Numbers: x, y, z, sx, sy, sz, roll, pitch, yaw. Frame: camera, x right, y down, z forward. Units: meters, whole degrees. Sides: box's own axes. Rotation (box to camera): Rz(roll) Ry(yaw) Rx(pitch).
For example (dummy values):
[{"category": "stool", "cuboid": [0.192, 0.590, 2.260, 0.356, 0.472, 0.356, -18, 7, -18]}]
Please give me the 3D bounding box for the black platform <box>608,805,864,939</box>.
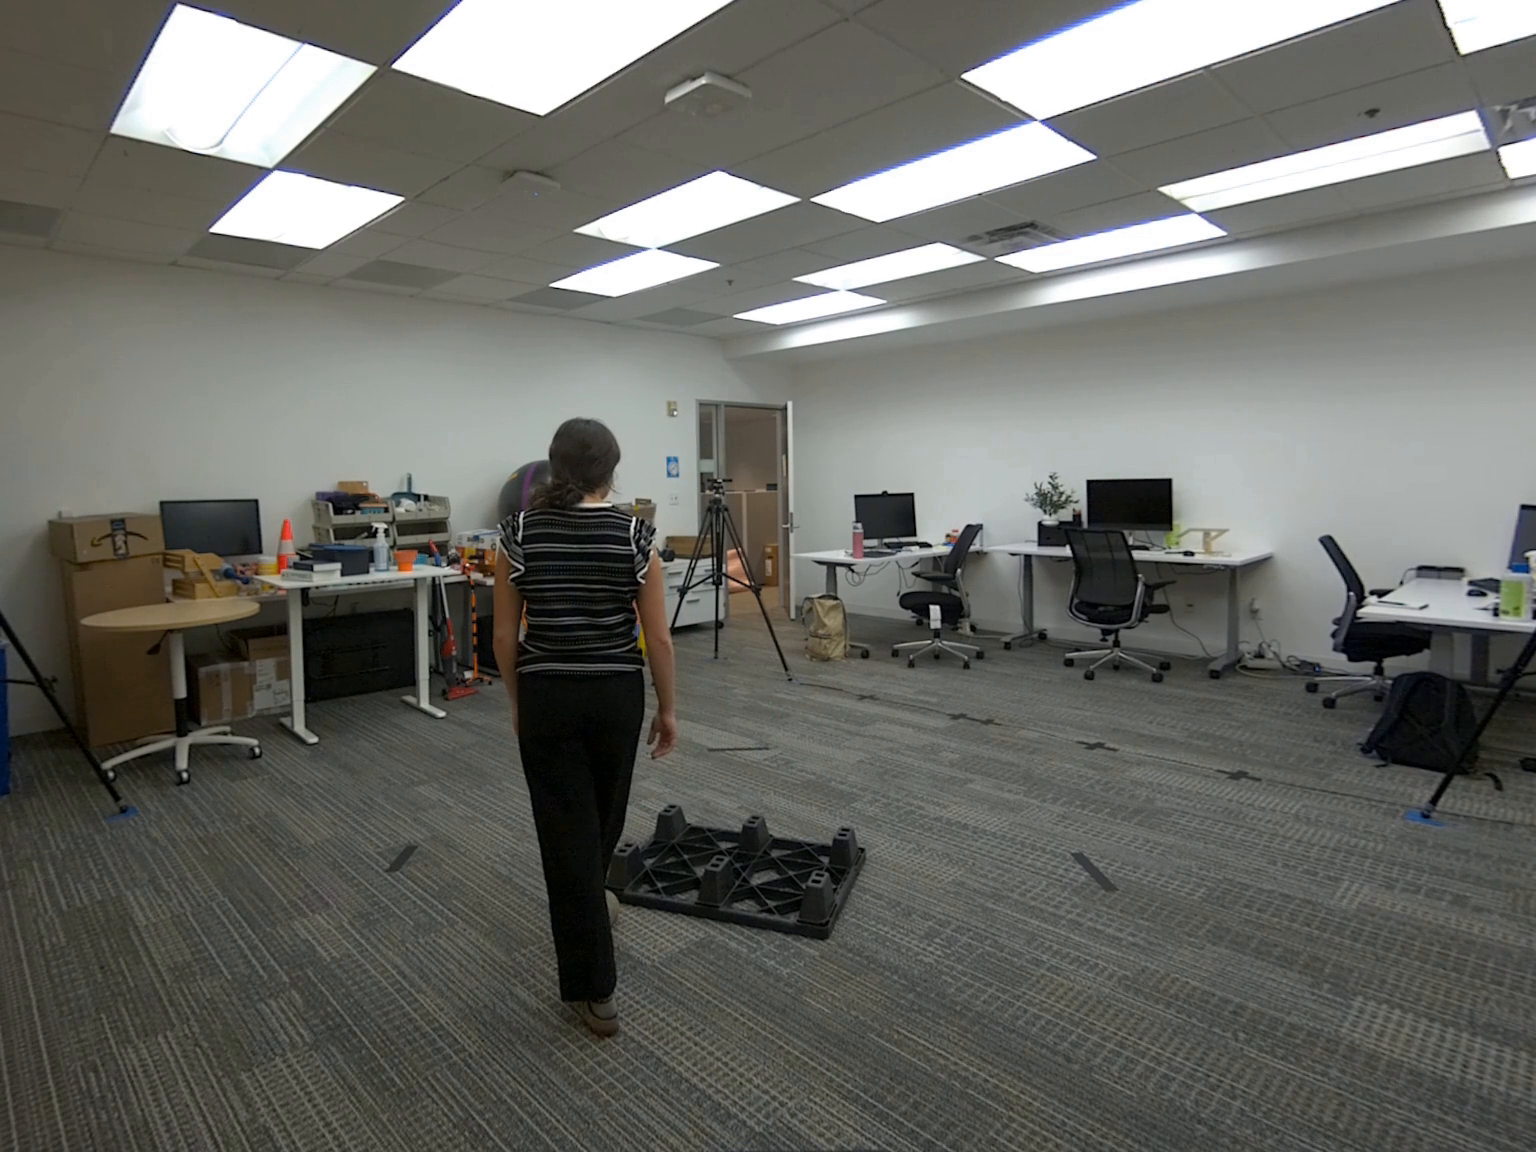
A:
[{"category": "black platform", "cuboid": [-0.110, 0.992, 2.990, 0.821, 0.143, 0.596, 1, 6, 20]}]
